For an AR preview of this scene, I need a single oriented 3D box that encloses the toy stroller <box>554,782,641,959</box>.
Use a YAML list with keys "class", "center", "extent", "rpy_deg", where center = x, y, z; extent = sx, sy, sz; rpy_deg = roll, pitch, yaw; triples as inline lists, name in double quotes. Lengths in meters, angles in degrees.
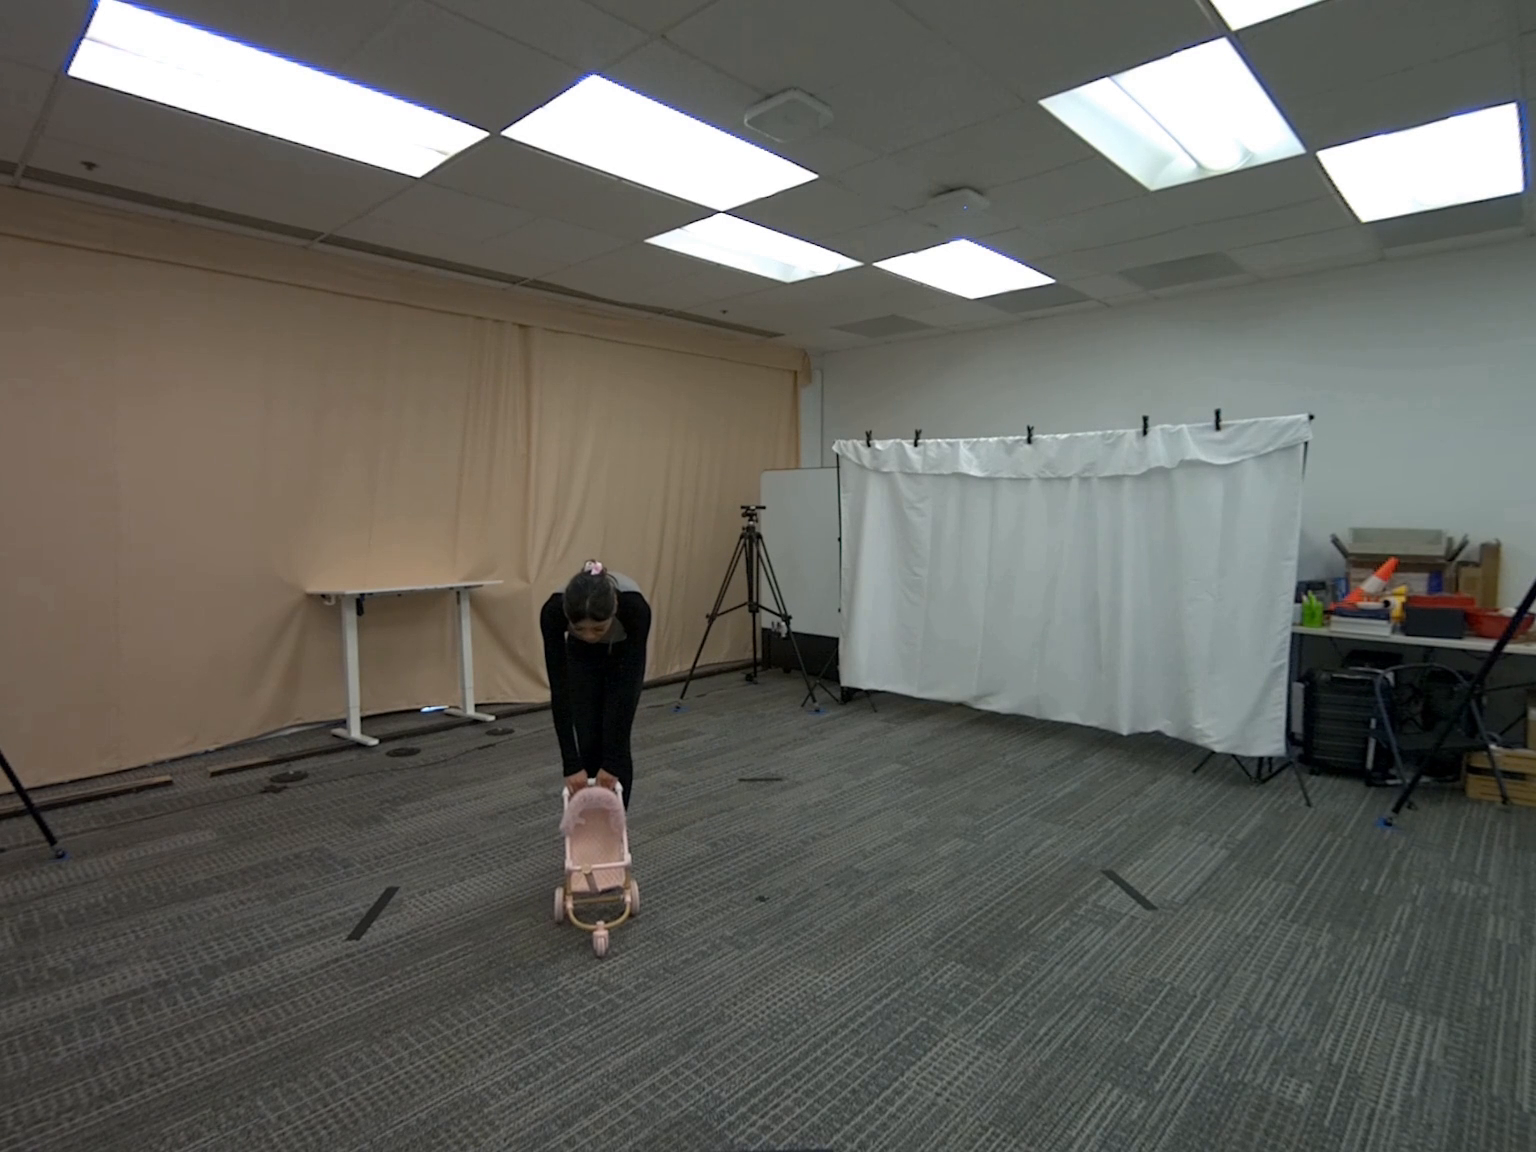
- class: "toy stroller"
  center: [-0.567, 0.942, 2.790]
  extent: [0.279, 0.540, 0.341]
  rpy_deg: [-2, -13, -10]
